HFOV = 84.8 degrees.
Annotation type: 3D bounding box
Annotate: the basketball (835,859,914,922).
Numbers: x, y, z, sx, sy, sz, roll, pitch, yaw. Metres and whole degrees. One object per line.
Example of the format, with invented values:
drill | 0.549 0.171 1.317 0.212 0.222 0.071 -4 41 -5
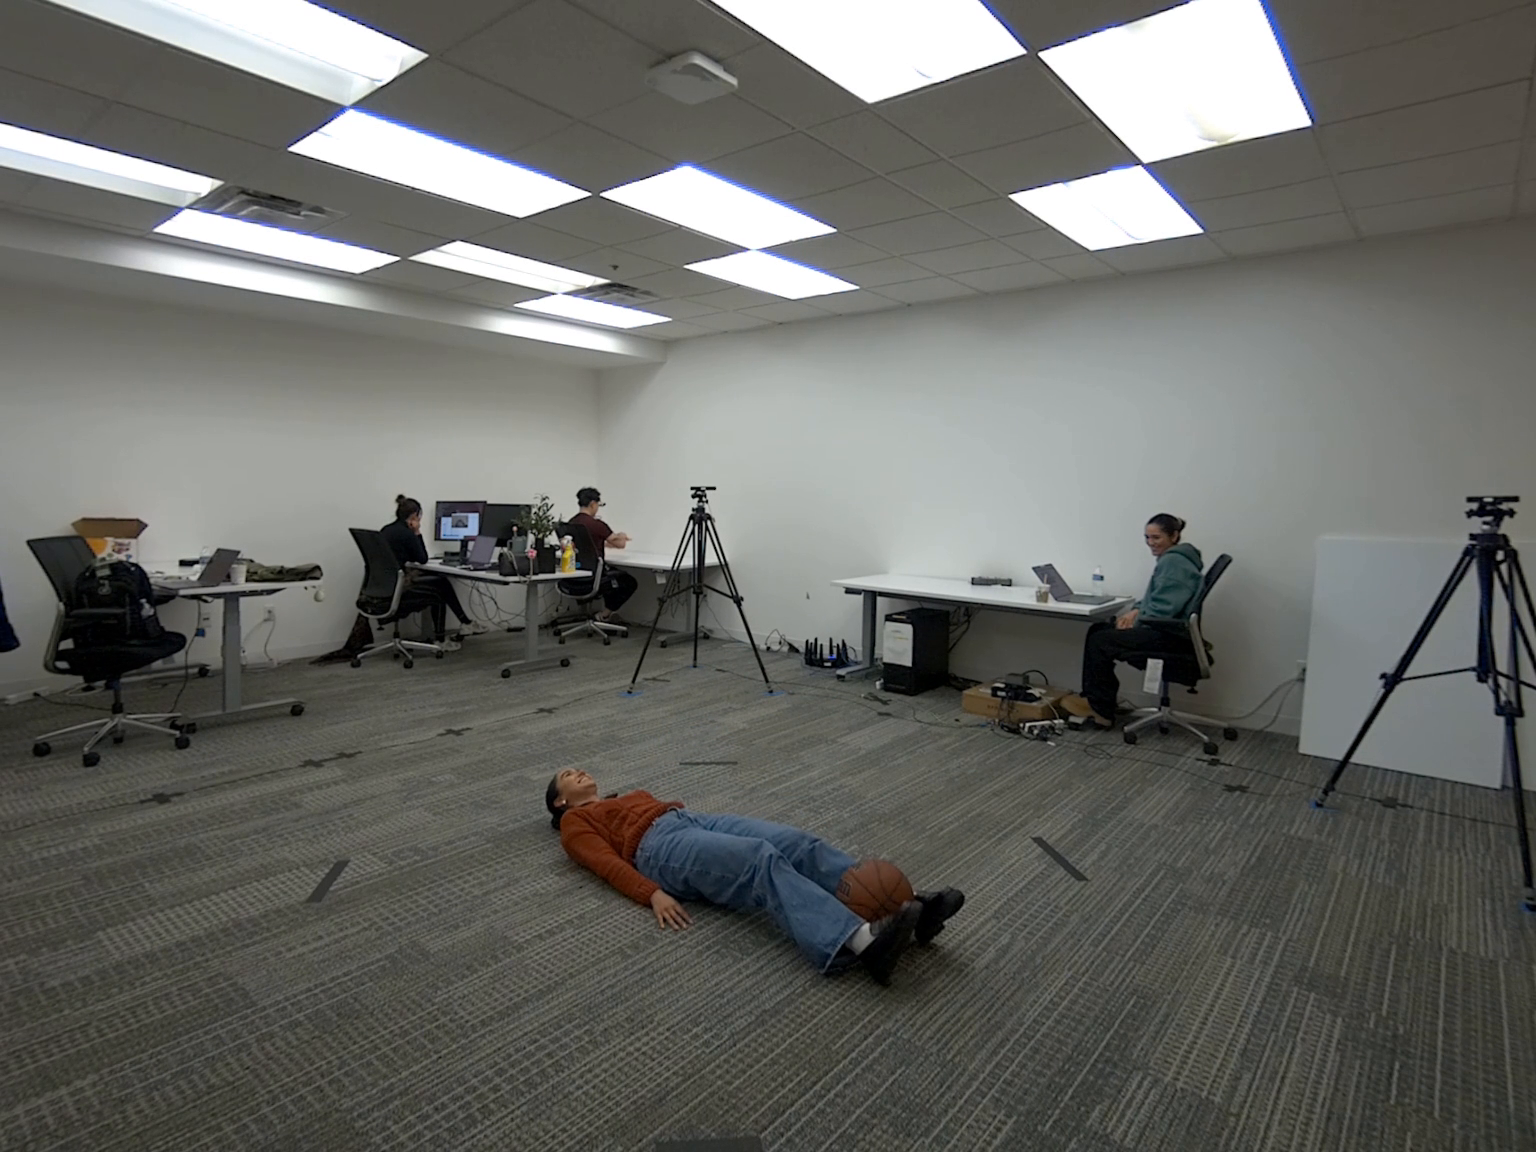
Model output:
basketball | 0.313 0.968 2.554 0.236 0.235 0.237 1 4 -2
